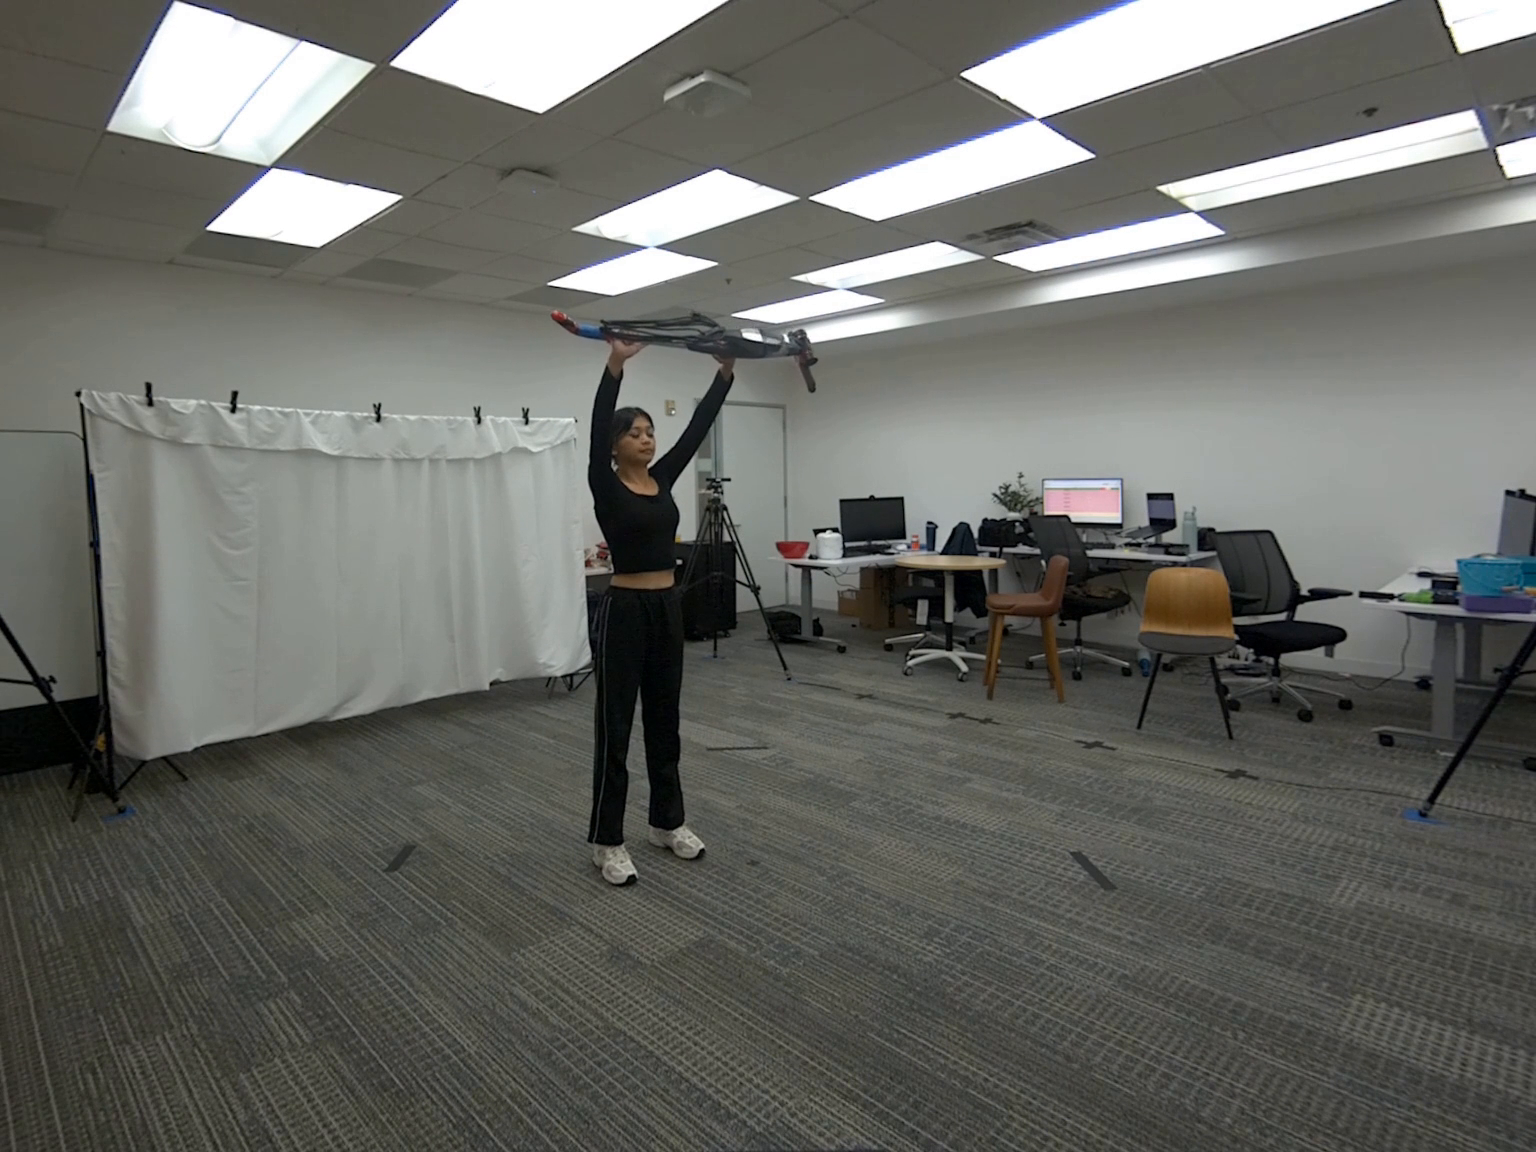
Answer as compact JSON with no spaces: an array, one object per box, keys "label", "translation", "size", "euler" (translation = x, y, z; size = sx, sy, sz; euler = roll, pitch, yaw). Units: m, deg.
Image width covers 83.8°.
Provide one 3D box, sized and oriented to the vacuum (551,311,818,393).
[{"label":"vacuum","translation":[-0.237,-0.780,2.817],"size":[1.020,0.258,0.145],"euler":[-4,-26,-43]}]
